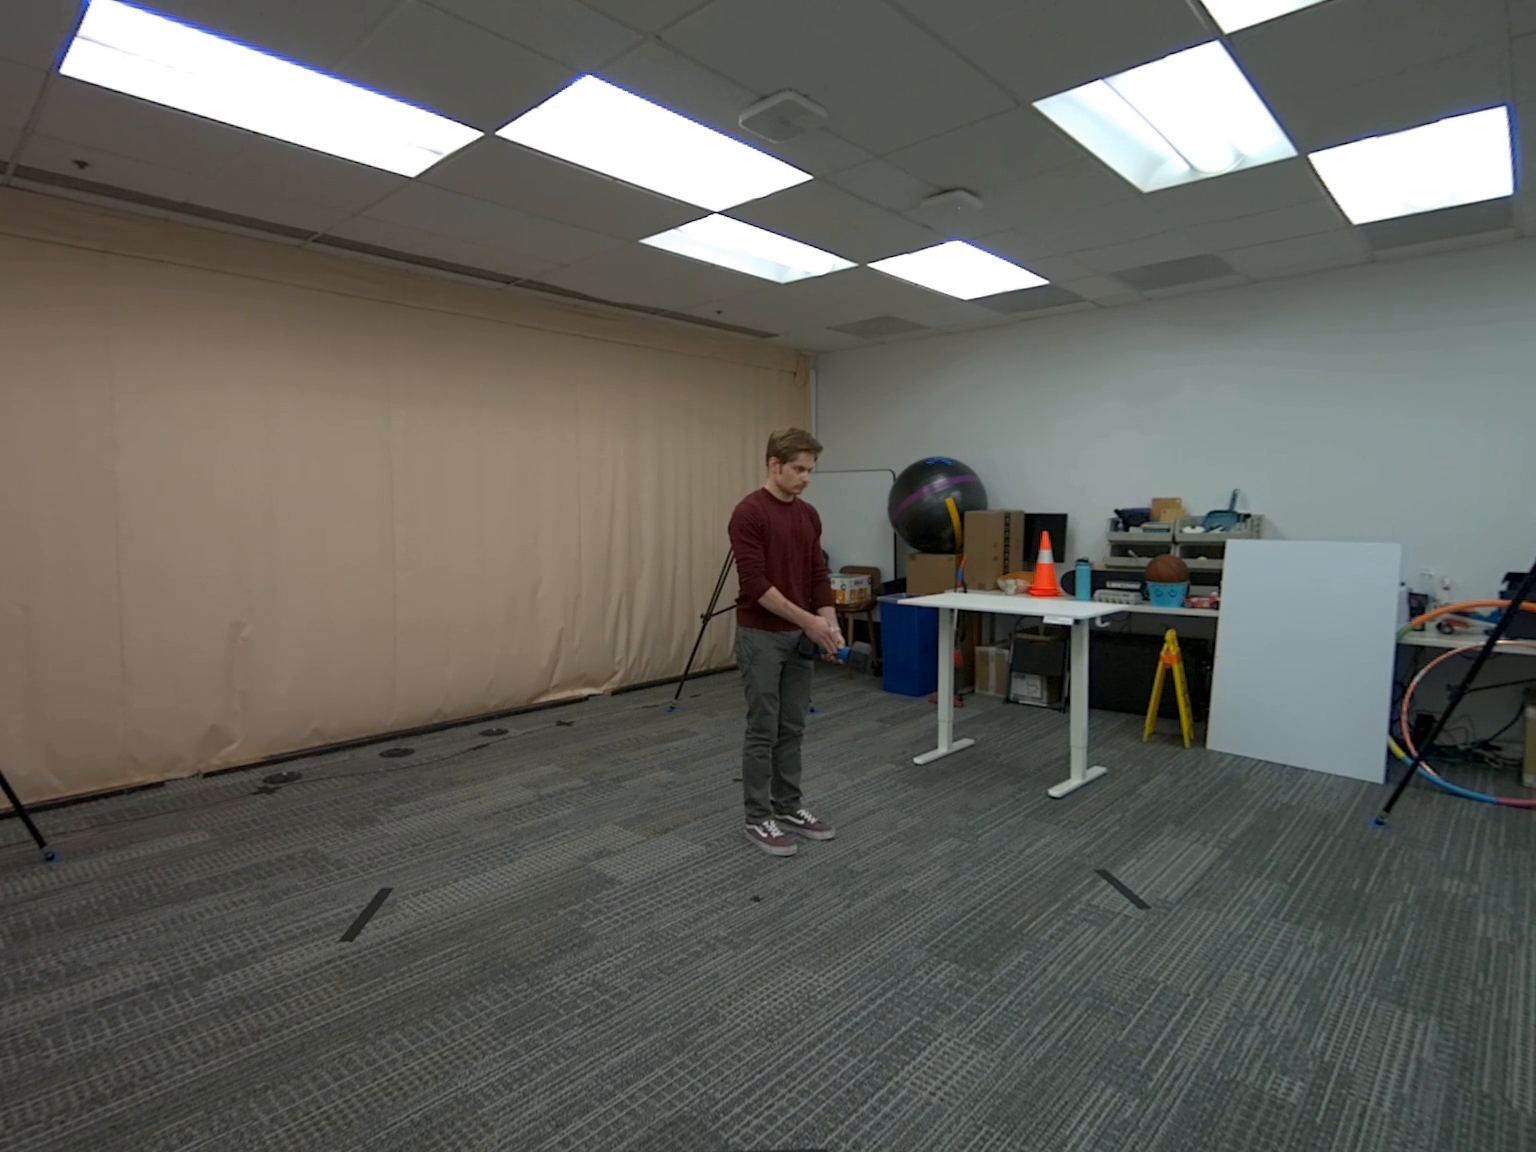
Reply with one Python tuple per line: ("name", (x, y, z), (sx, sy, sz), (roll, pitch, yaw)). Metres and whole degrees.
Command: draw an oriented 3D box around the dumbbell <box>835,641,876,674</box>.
("dumbbell", (0.271, 0.308, 3.390), (0.301, 0.123, 0.106), (11, 3, 22))
